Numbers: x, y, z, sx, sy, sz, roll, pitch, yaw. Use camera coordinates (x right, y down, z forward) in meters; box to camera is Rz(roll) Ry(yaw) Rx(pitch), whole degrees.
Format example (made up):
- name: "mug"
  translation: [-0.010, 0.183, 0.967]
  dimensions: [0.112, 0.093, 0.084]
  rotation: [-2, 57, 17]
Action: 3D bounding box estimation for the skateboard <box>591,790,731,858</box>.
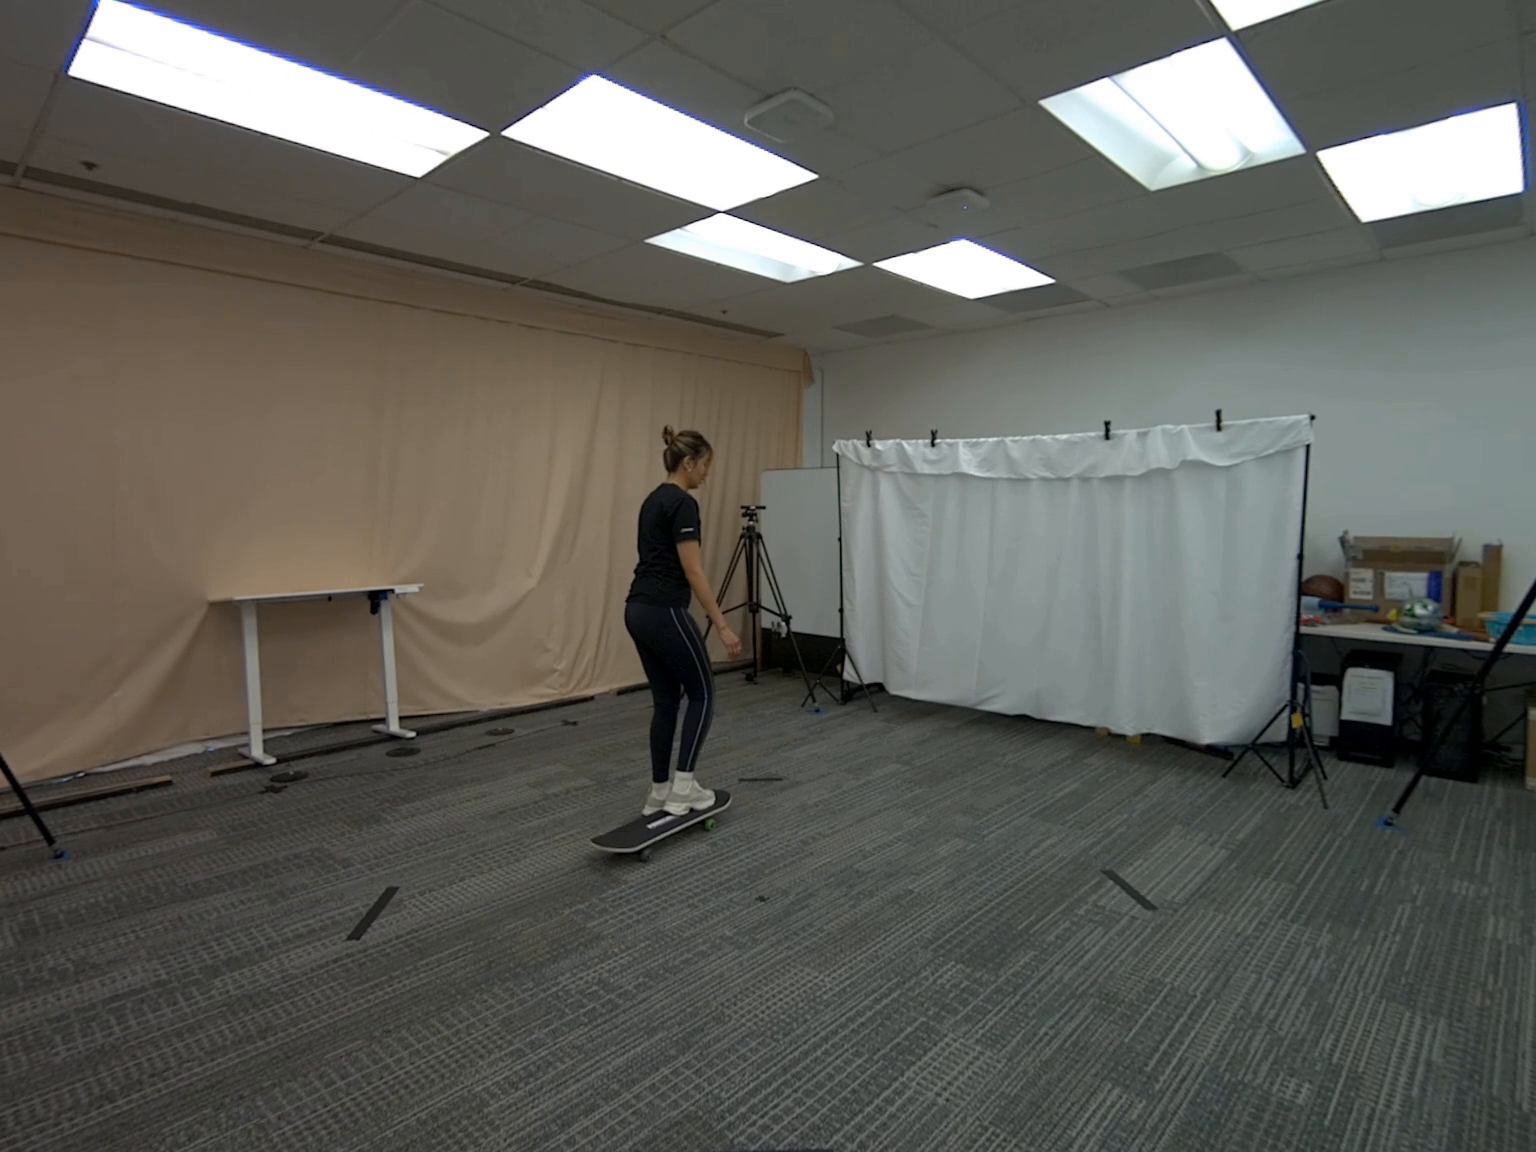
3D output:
- name: "skateboard"
  translation: [-0.432, 1.053, 3.511]
  dimensions: [0.200, 0.110, 0.762]
  rotation: [3, 5, 37]
